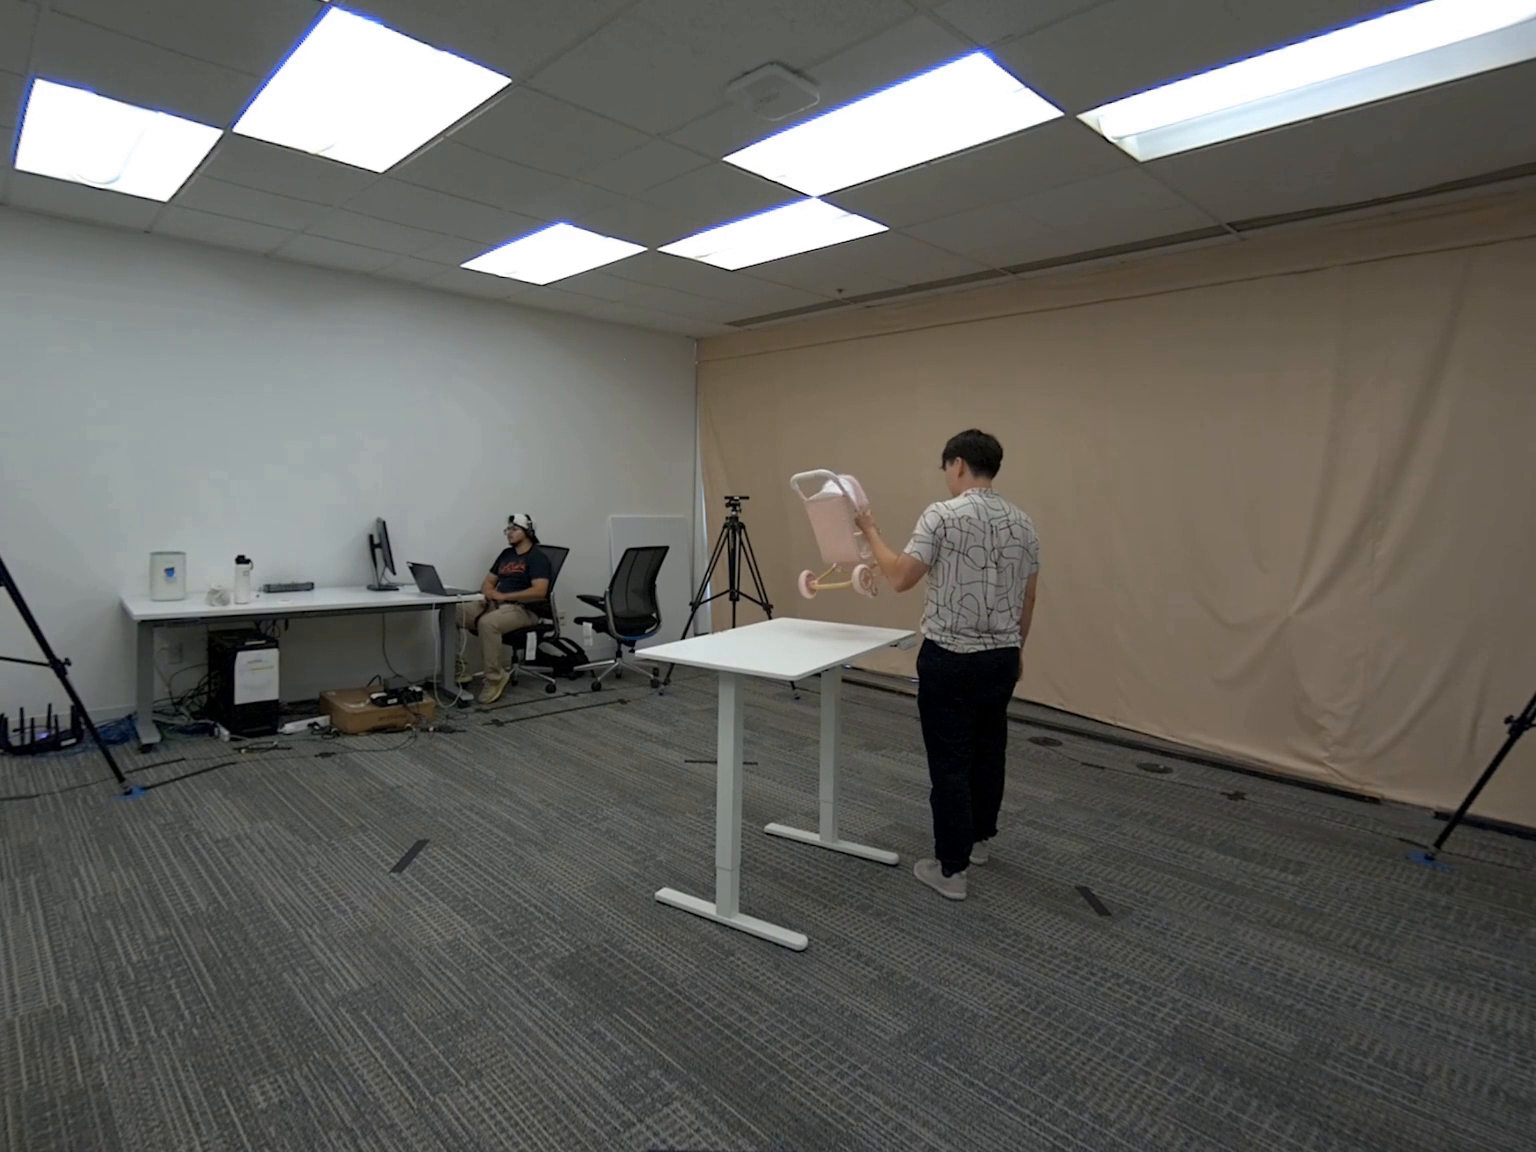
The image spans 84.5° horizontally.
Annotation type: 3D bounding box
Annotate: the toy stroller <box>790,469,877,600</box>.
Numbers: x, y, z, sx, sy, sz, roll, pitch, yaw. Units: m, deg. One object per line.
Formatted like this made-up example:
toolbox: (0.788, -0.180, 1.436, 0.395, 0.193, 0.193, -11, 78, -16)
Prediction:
toy stroller: (0.288, -0.149, 3.248, 0.287, 0.534, 0.335, -9, 2, 45)
